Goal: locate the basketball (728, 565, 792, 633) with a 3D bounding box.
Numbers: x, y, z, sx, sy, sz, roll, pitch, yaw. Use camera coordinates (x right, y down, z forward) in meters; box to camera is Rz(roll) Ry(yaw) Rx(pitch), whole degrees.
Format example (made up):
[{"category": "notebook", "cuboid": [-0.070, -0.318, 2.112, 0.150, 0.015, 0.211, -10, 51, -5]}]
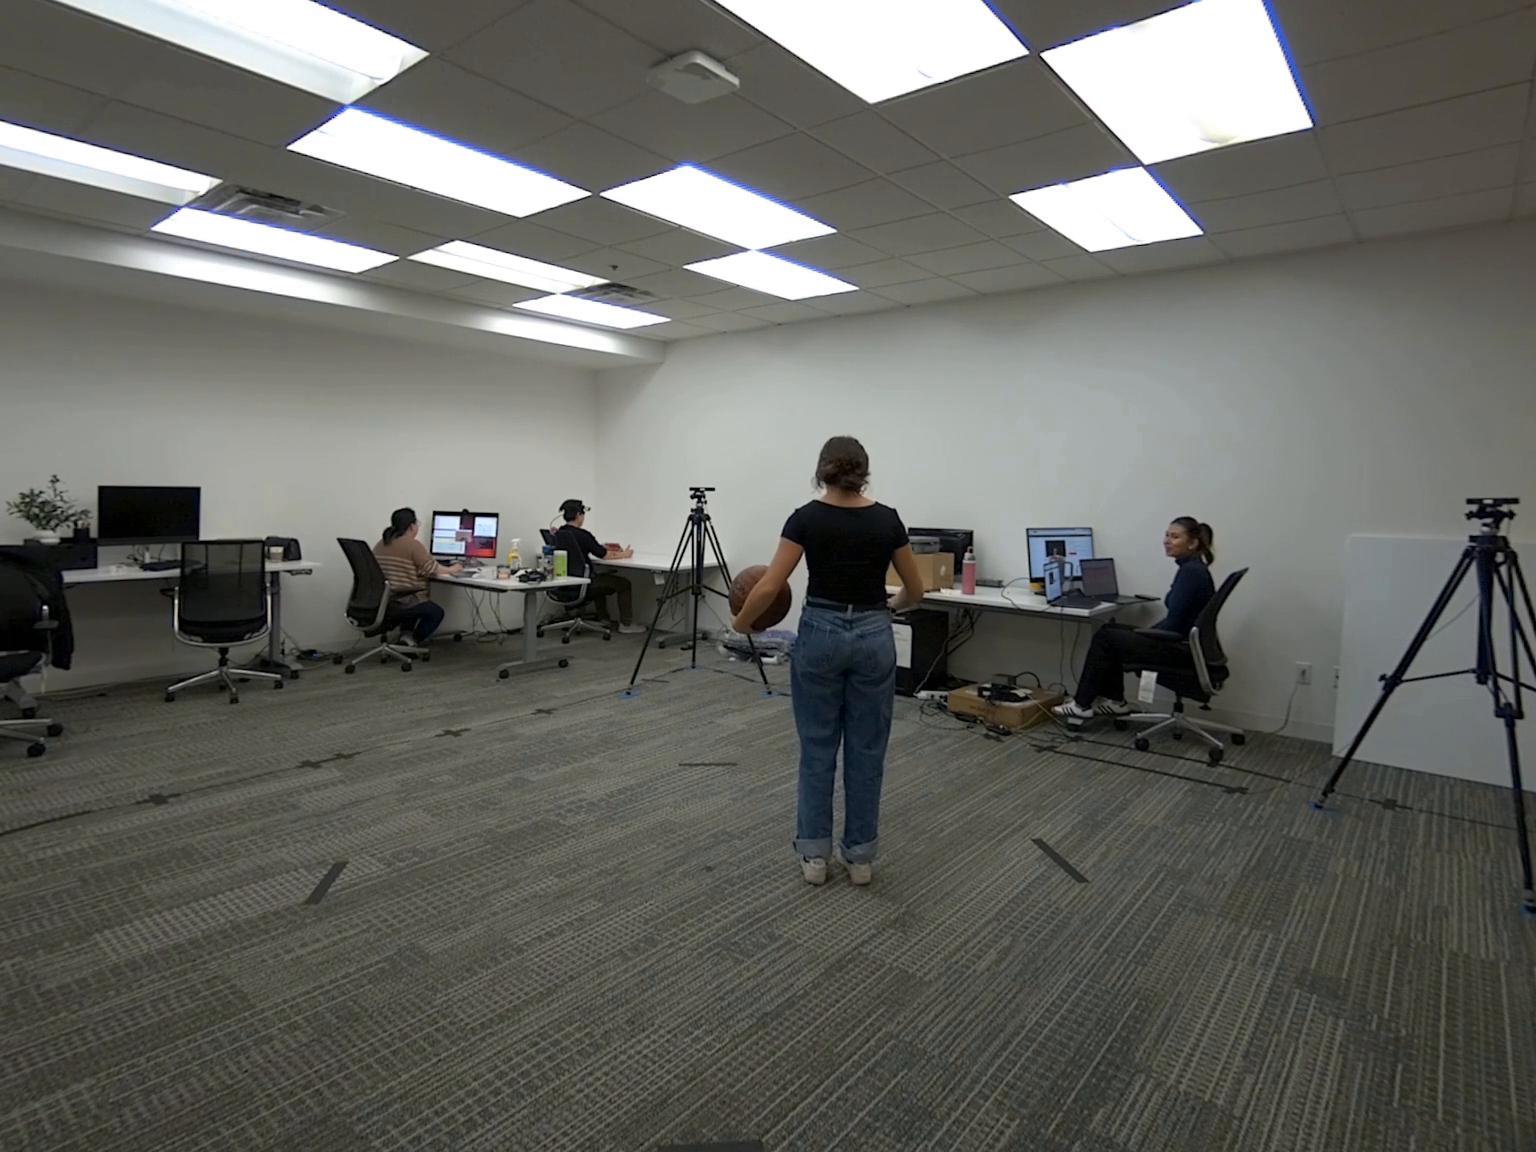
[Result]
[{"category": "basketball", "cuboid": [-0.023, 0.079, 3.199, 0.235, 0.235, 0.237, 1, 4, -2]}]
